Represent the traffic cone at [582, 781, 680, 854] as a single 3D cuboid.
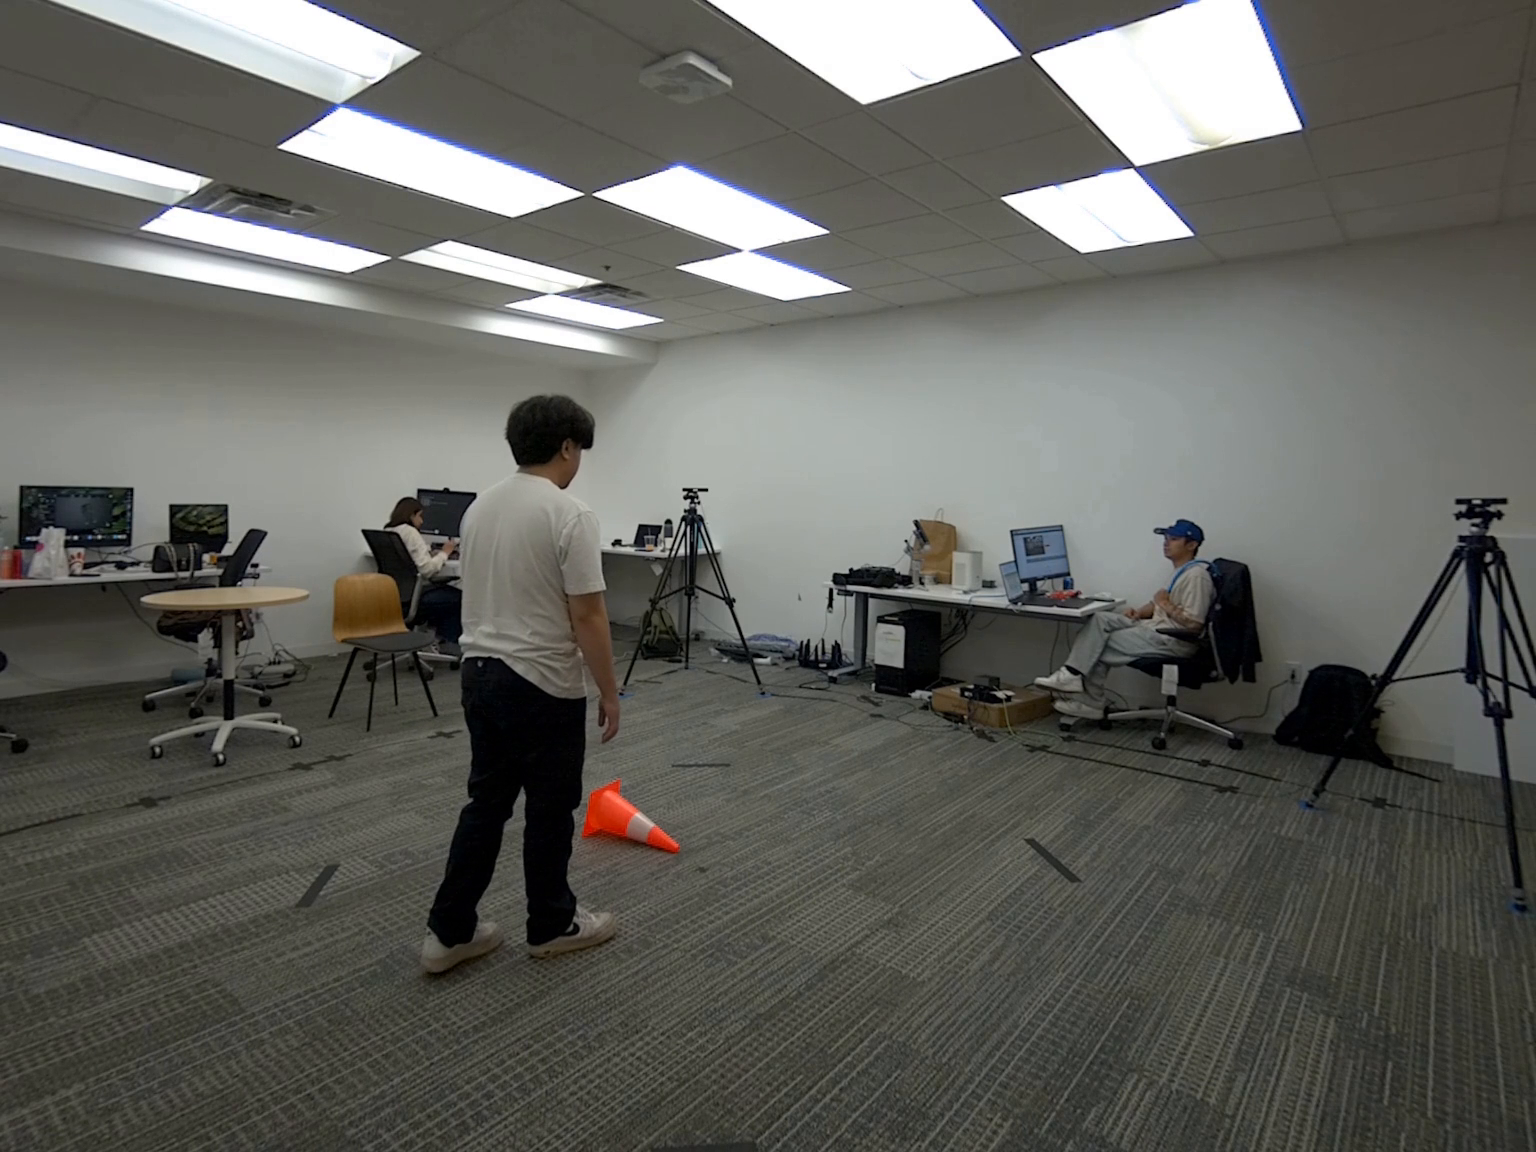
[{"bbox_3d":[-0.519,0.989,3.344,0.396,0.202,0.200,18,13,27],"label":"traffic cone"}]
